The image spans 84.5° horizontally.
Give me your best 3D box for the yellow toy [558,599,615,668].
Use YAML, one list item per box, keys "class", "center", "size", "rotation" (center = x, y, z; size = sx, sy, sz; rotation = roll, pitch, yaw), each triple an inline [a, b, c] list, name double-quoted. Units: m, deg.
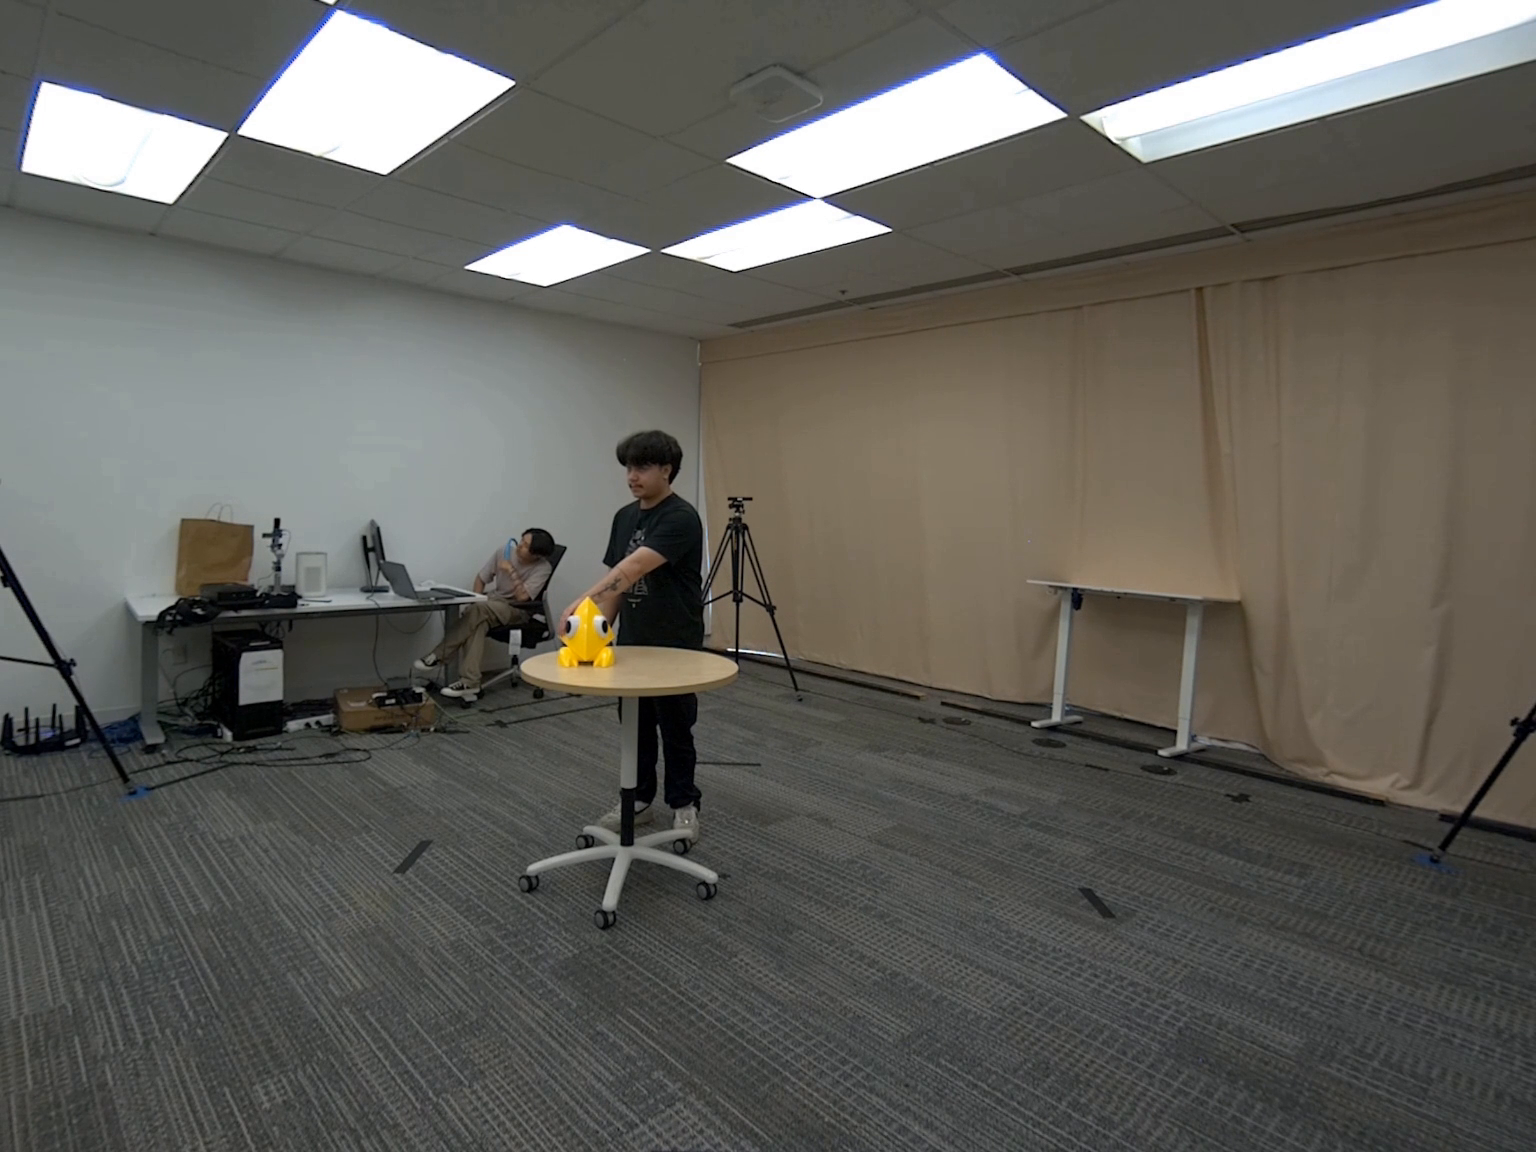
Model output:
- class: "yellow toy"
  center: [-0.653, 0.196, 3.006]
  size: [0.203, 0.230, 0.195]
  rotation: [2, 4, -9]
